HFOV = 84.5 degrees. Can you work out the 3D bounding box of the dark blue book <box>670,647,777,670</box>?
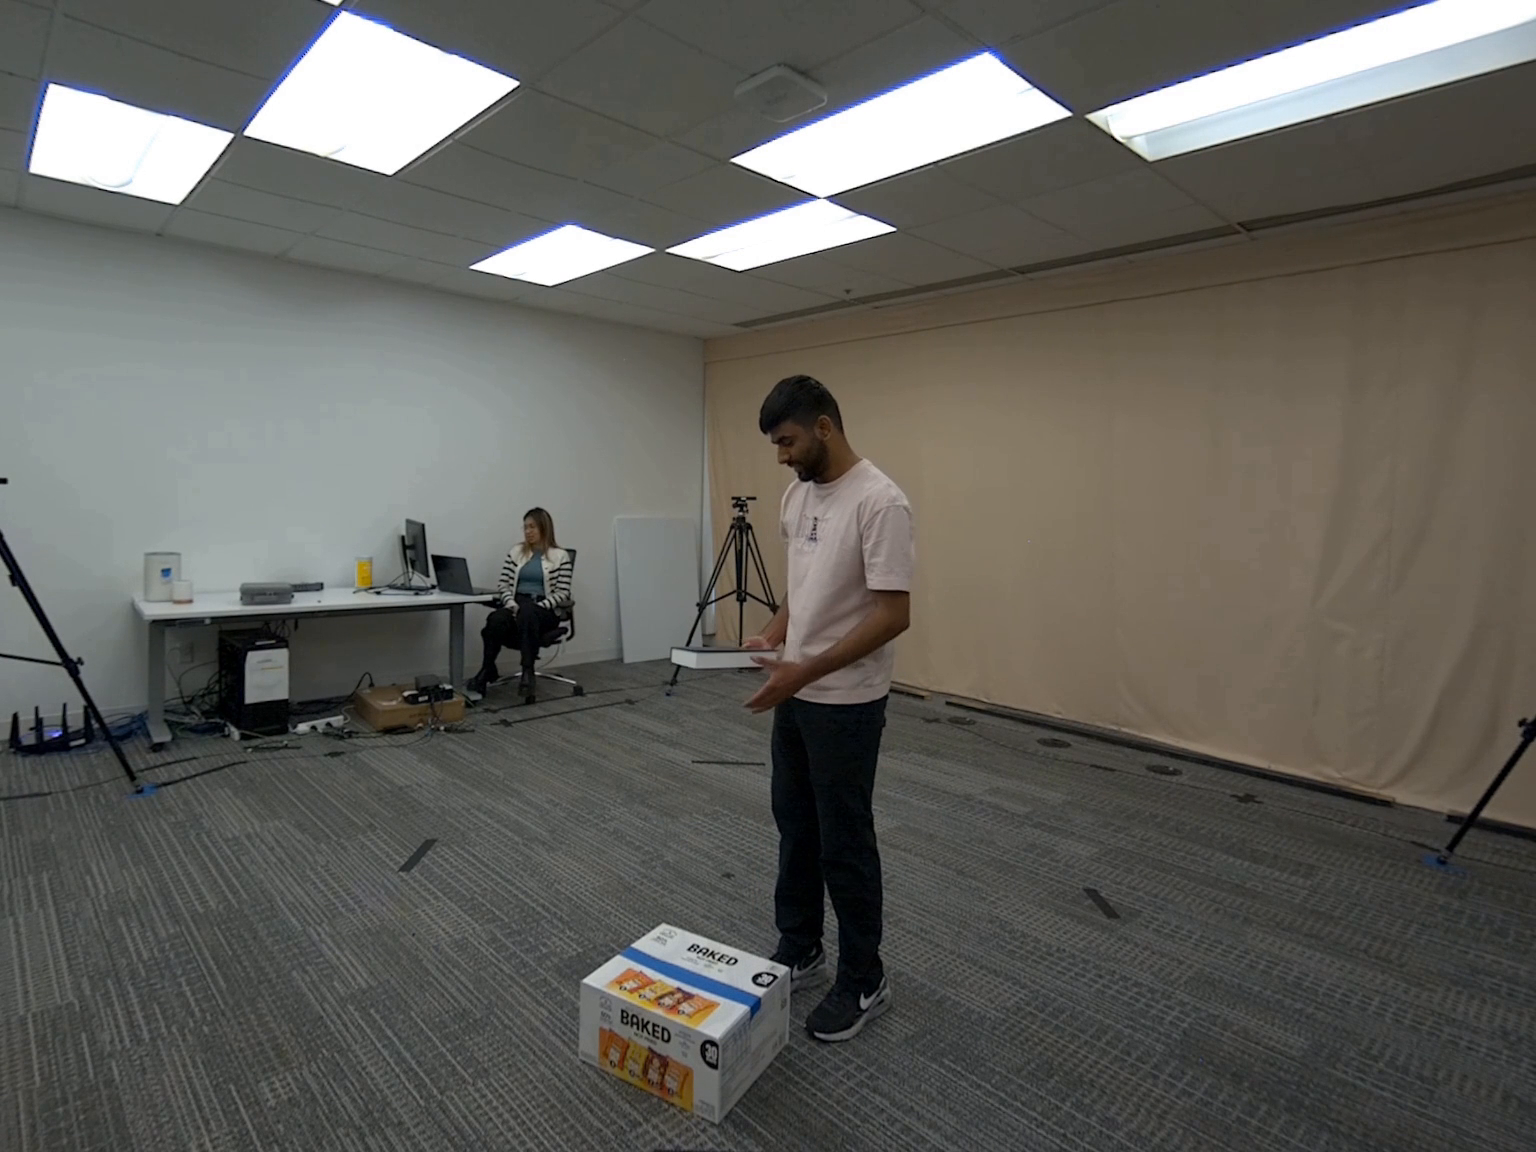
[{"bbox_3d":[-0.128,0.214,2.239,0.240,0.045,0.166,3,-1,-27],"label":"dark blue book"}]
